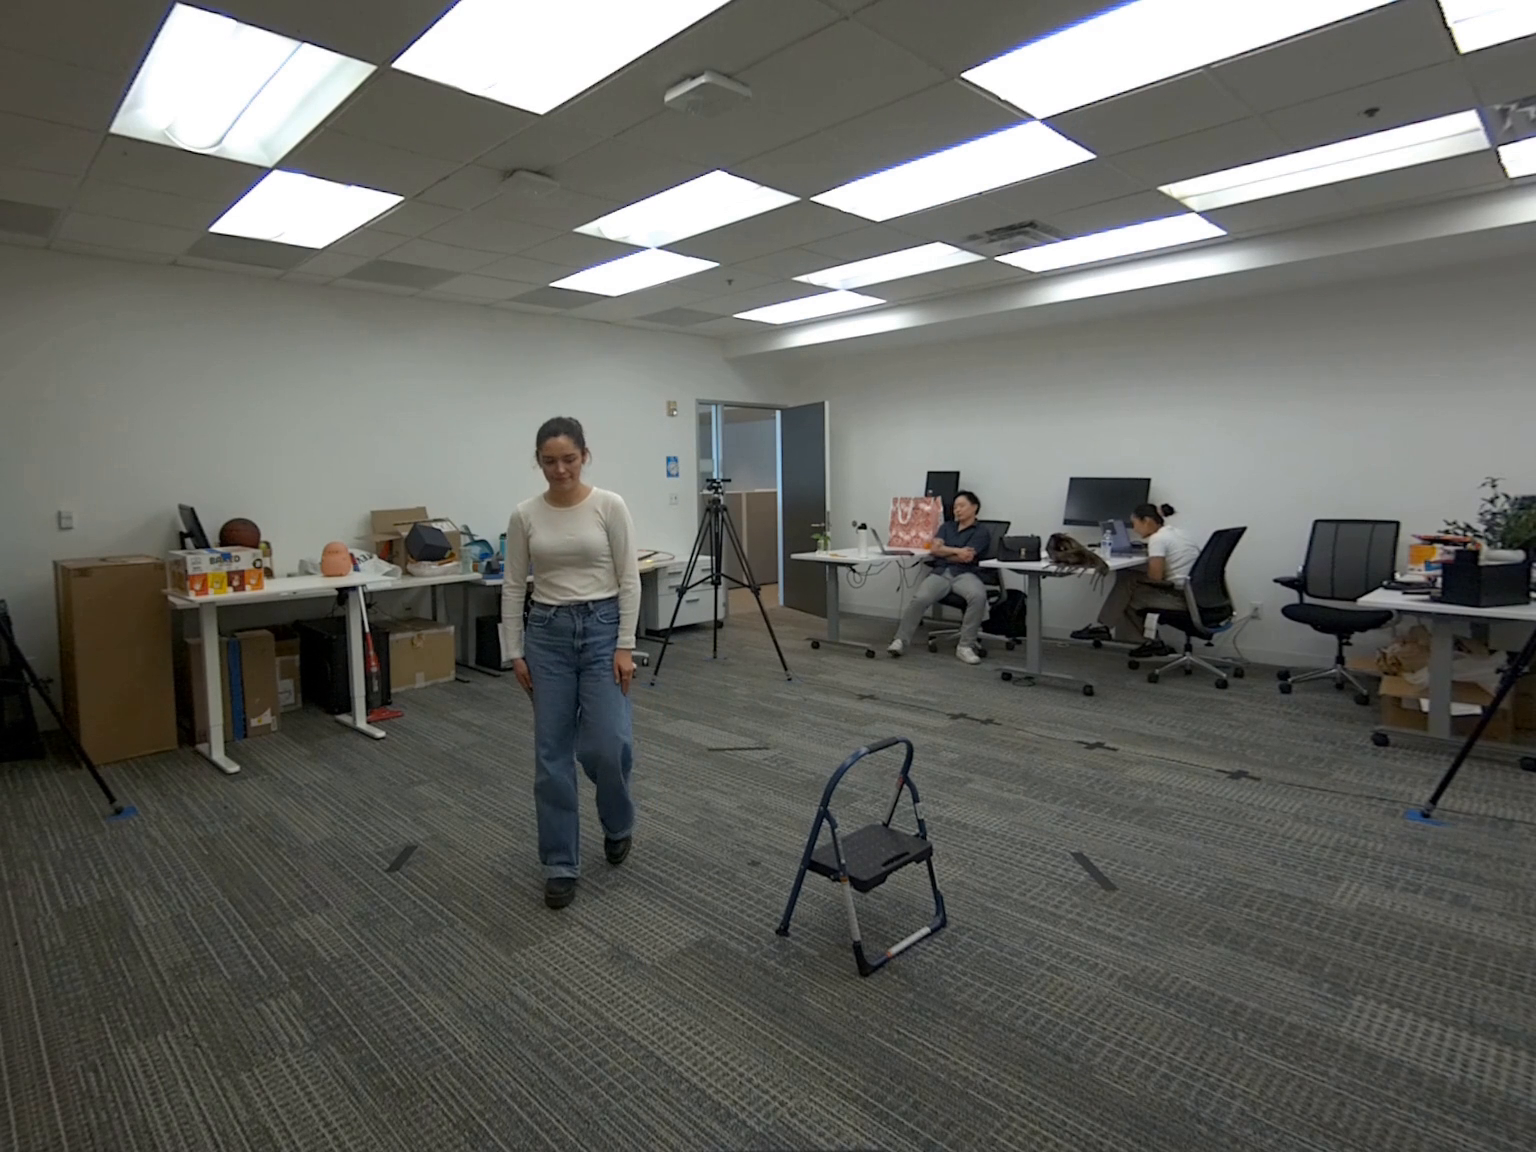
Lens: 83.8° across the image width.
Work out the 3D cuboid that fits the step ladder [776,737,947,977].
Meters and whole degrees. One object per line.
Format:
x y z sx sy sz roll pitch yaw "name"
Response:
0.292 0.792 2.621 0.419 0.604 0.360 -6 6 -44 "step ladder"
